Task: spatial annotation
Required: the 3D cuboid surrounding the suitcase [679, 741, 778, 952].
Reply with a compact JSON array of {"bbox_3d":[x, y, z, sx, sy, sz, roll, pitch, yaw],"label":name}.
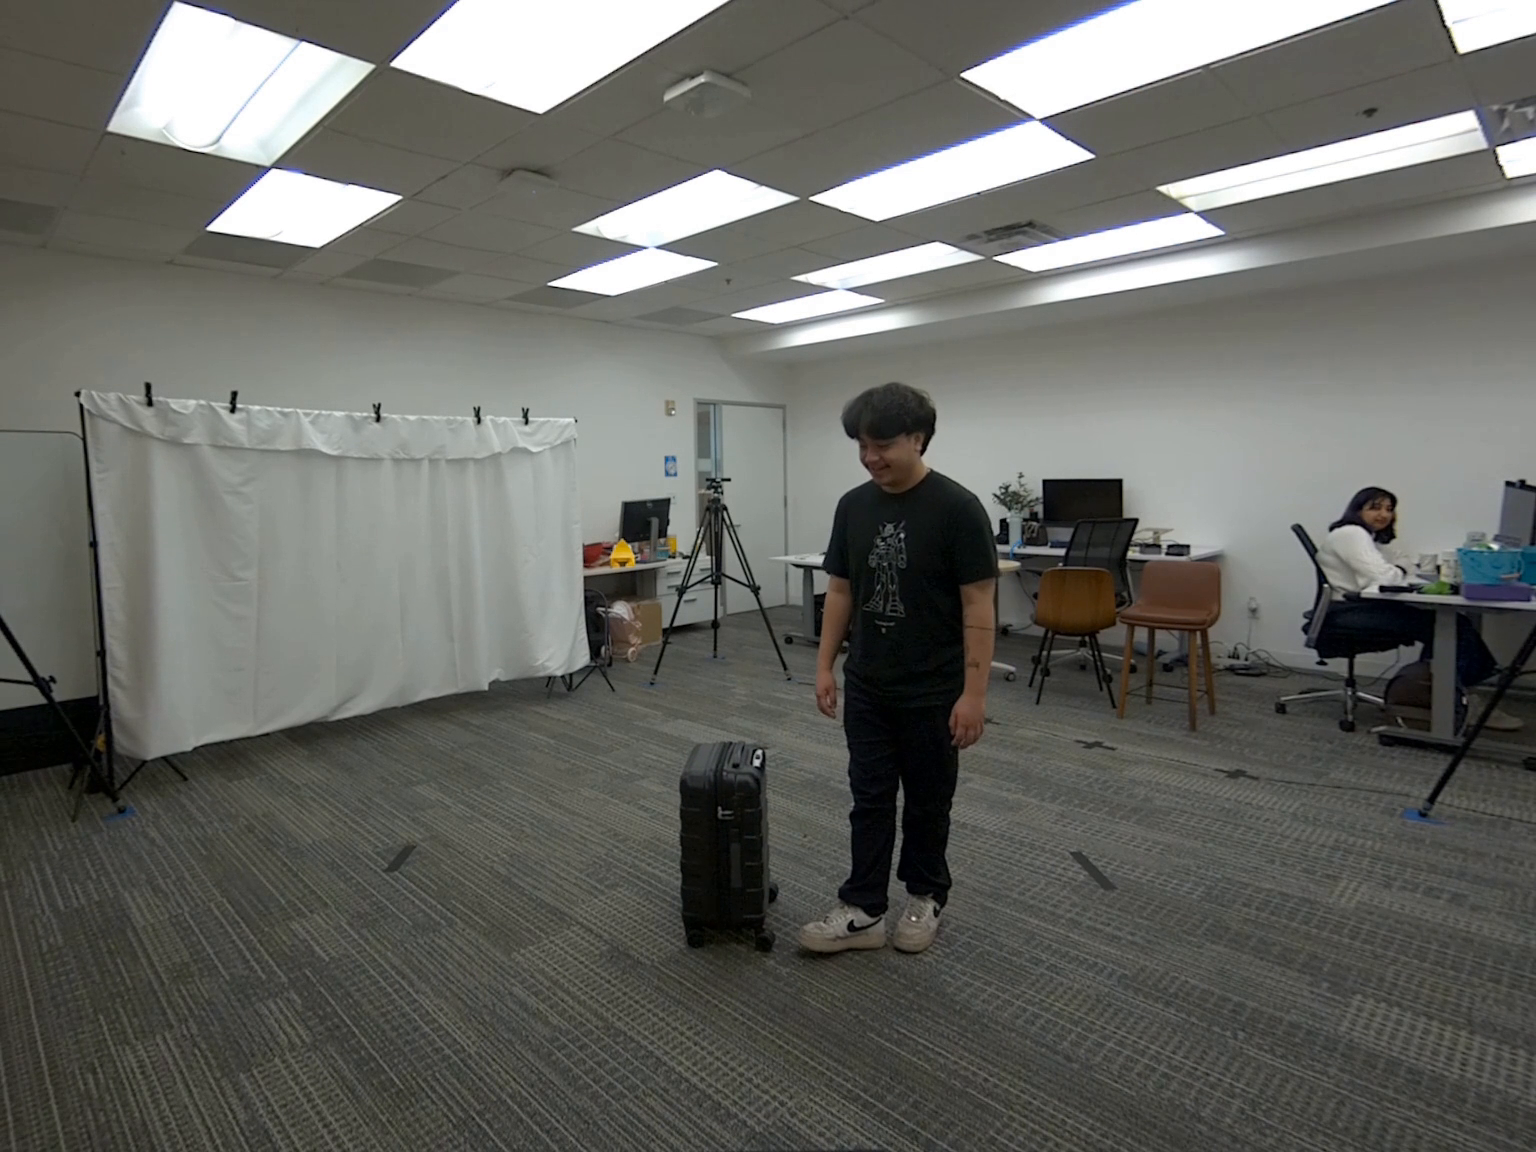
[{"bbox_3d":[-0.117,0.815,2.679,0.249,0.547,0.375,-2,5,3],"label":"suitcase"}]
